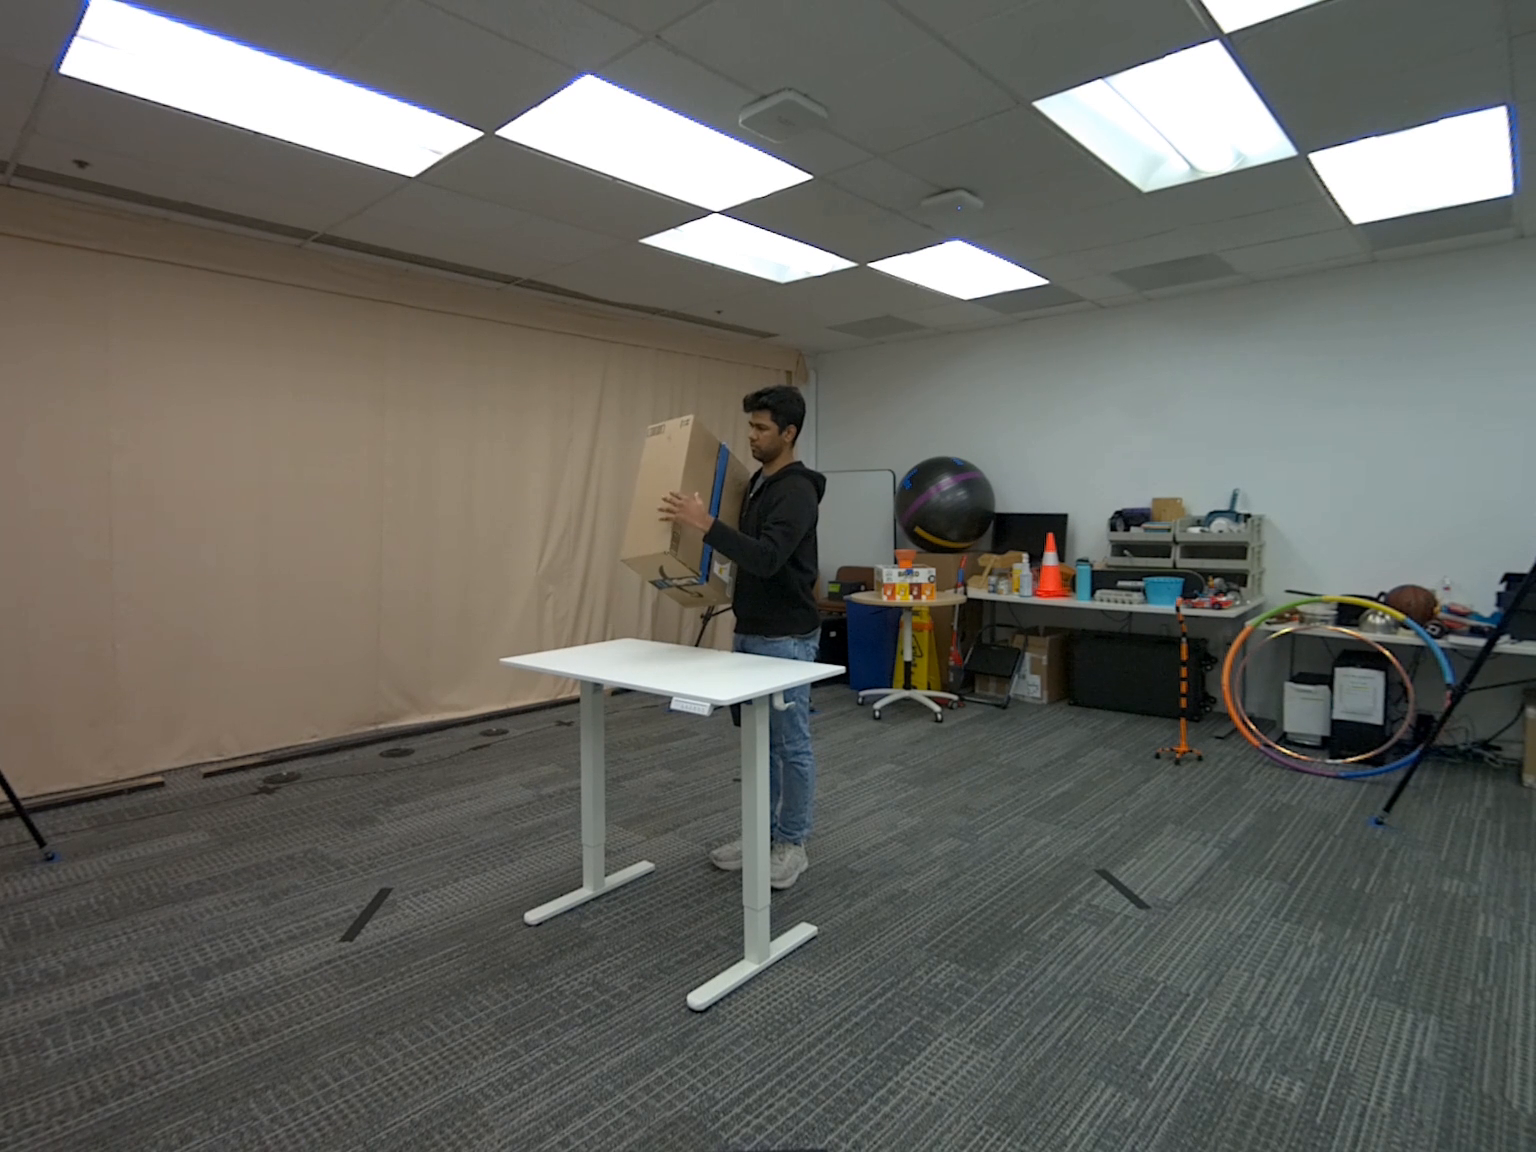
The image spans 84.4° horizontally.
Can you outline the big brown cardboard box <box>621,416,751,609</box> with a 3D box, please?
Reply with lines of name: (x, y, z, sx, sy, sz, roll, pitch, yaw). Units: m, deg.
big brown cardboard box: (-0.287, -0.220, 3.124, 0.239, 0.595, 0.402, -9, -29, 29)
